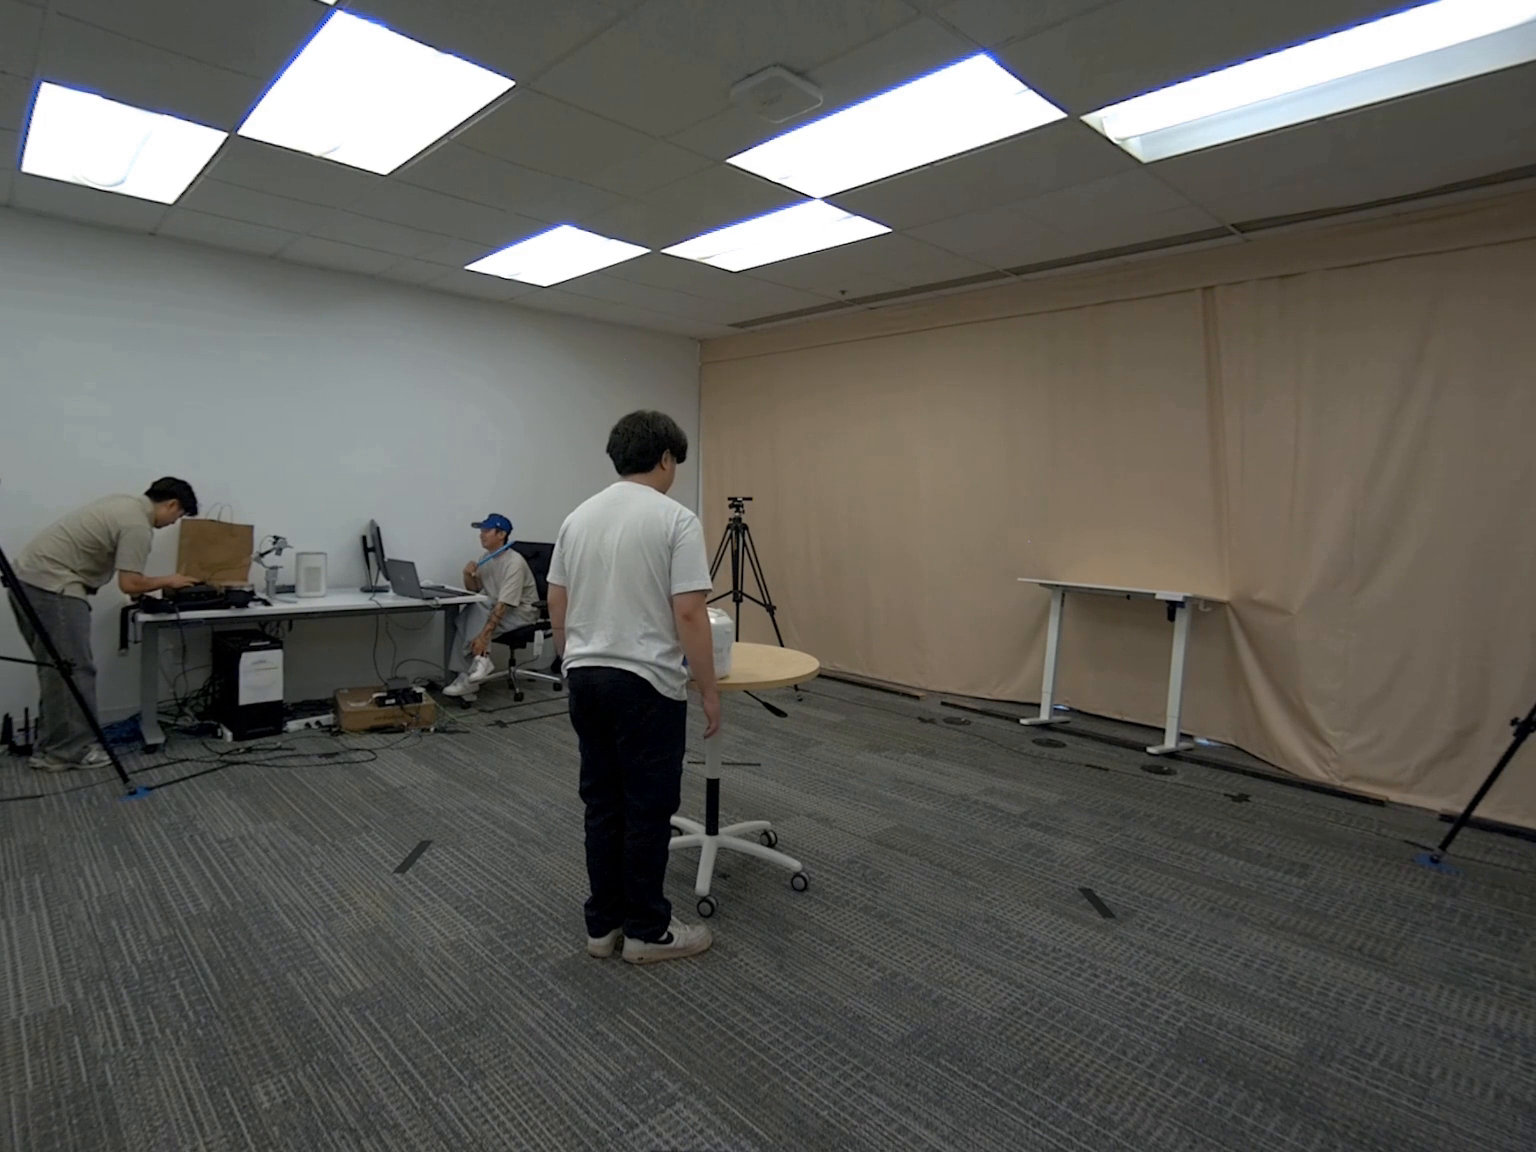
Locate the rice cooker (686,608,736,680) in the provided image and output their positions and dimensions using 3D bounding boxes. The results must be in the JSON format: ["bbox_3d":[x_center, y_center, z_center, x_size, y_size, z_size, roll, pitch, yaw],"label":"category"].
[{"bbox_3d":[-0.219,0.224,2.814,0.219,0.232,0.219,2,5,-7],"label":"rice cooker"}]
